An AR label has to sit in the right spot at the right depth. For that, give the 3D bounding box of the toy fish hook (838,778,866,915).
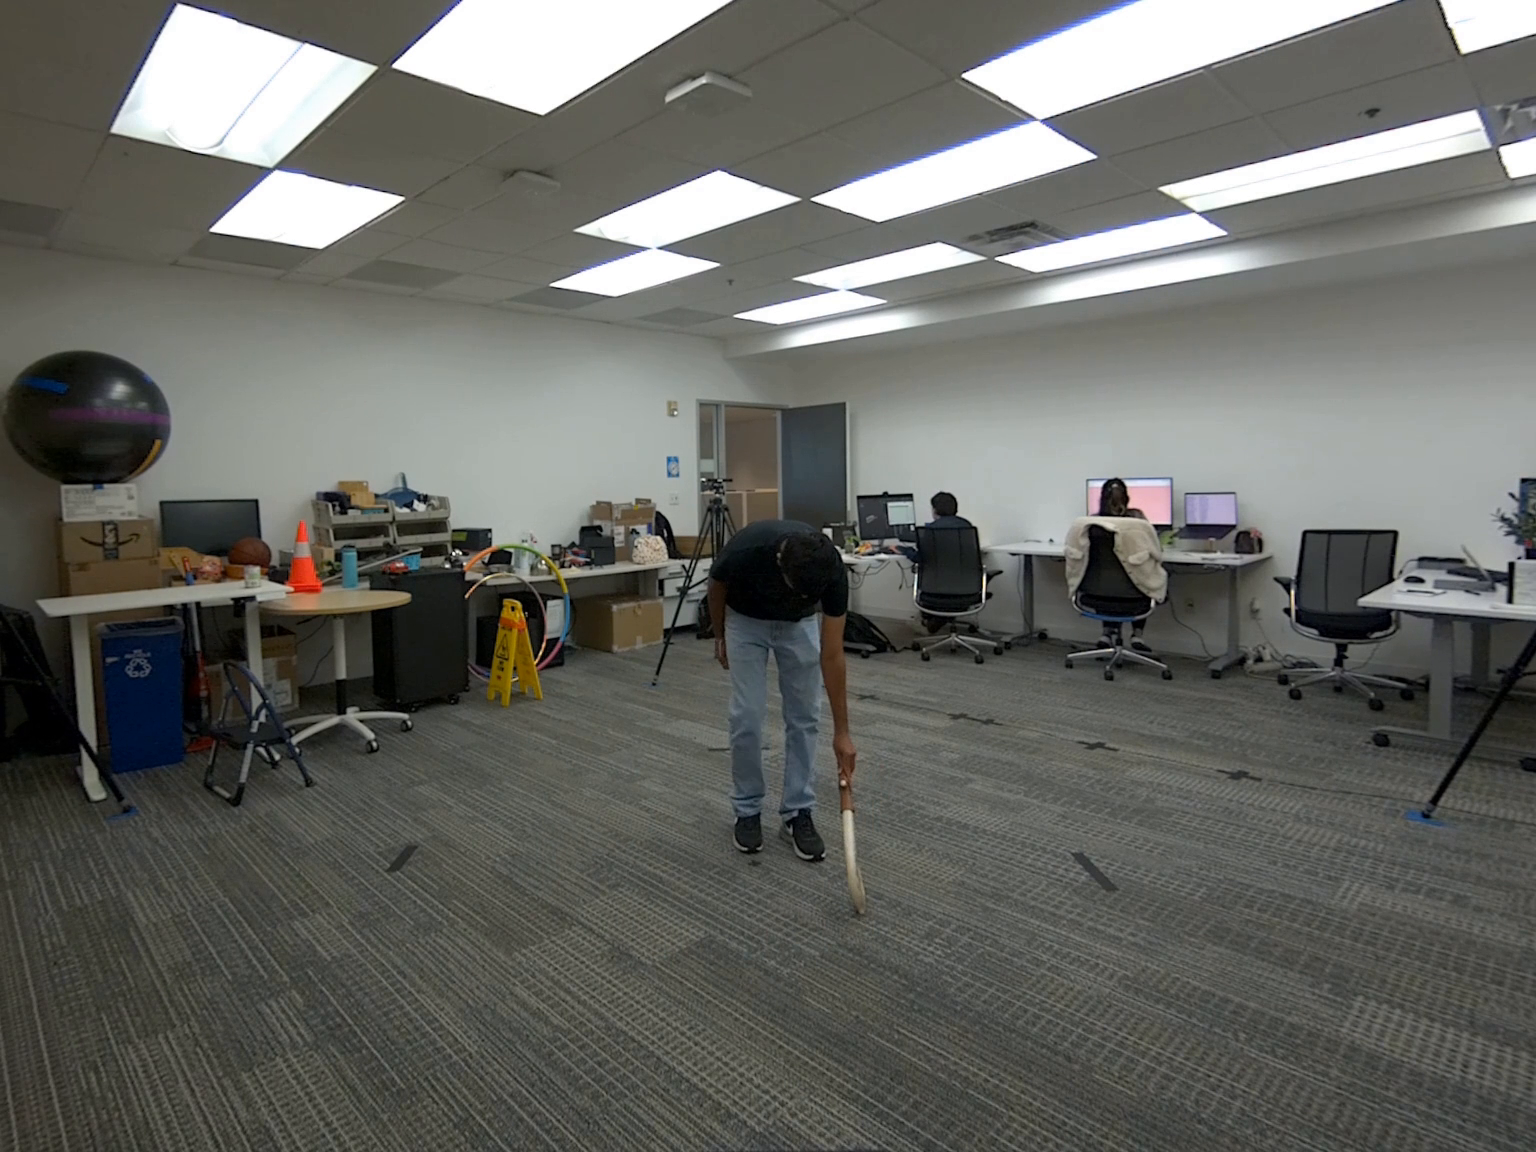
[{"bbox_3d":[0.285,0.875,2.887,0.048,0.217,0.520,-5,44,5],"label":"toy fish hook"}]
